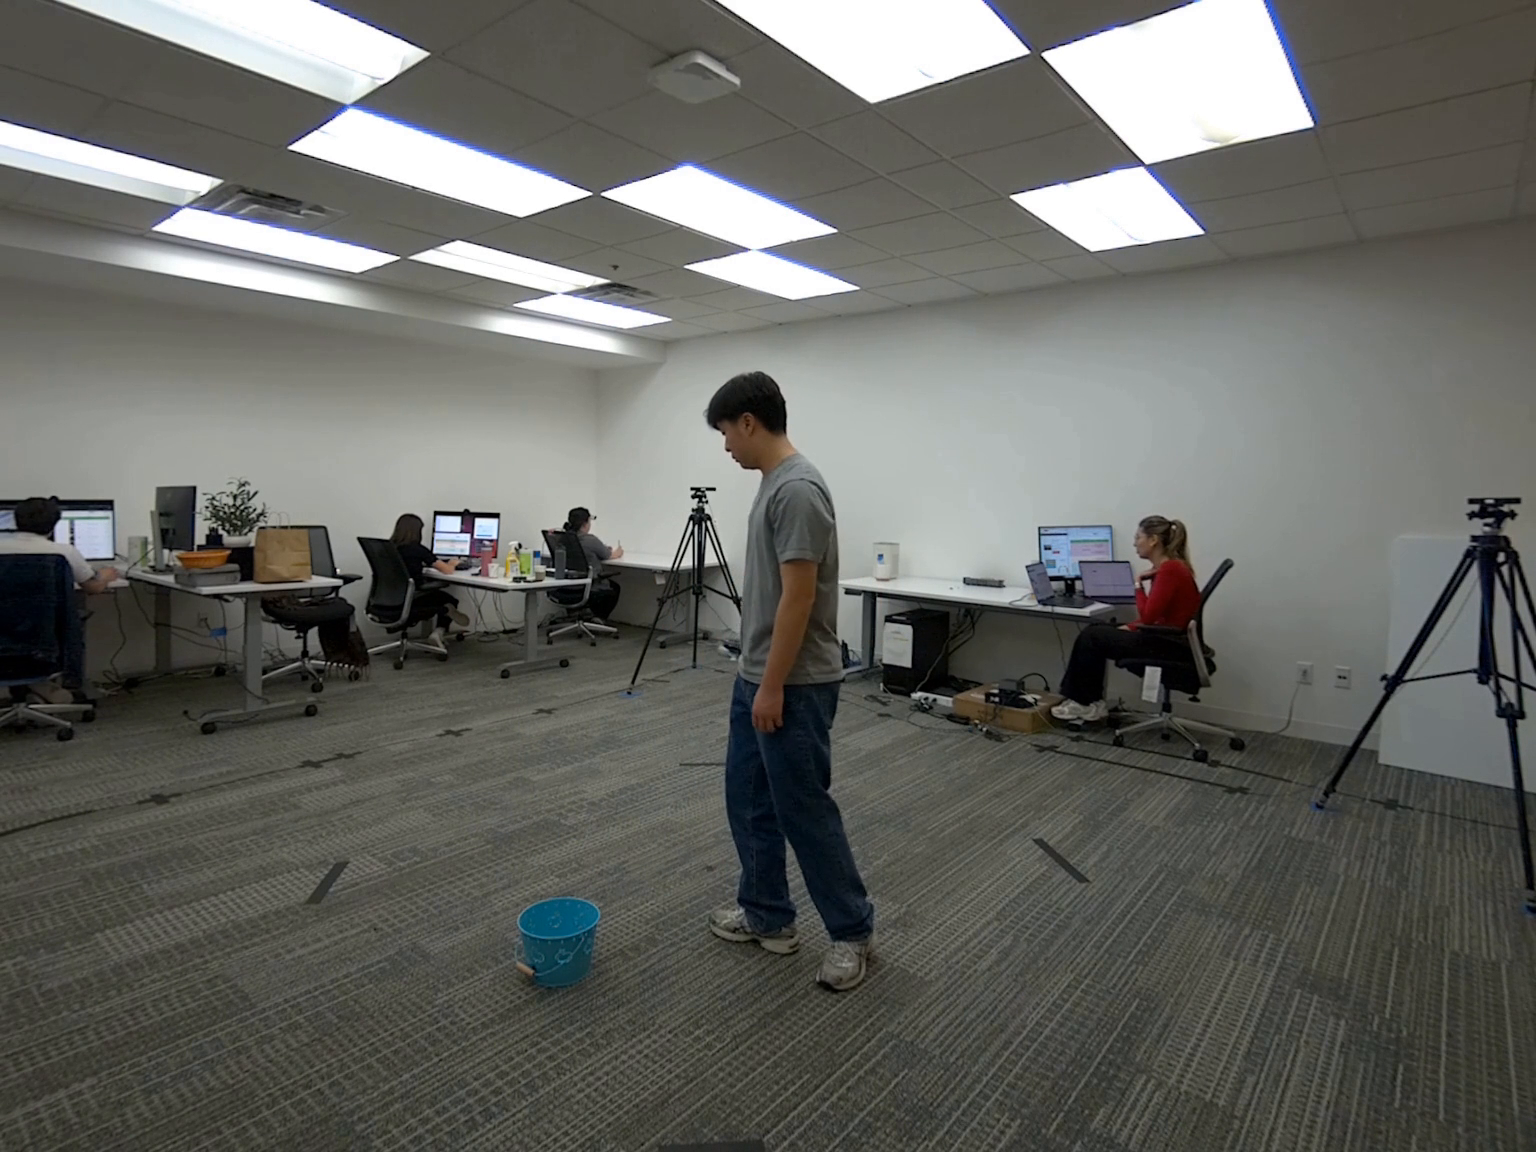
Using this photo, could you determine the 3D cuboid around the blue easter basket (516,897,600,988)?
[{"bbox_3d":[-0.616,1.049,2.440,0.243,0.155,0.244,0,3,-2],"label":"blue easter basket"}]
